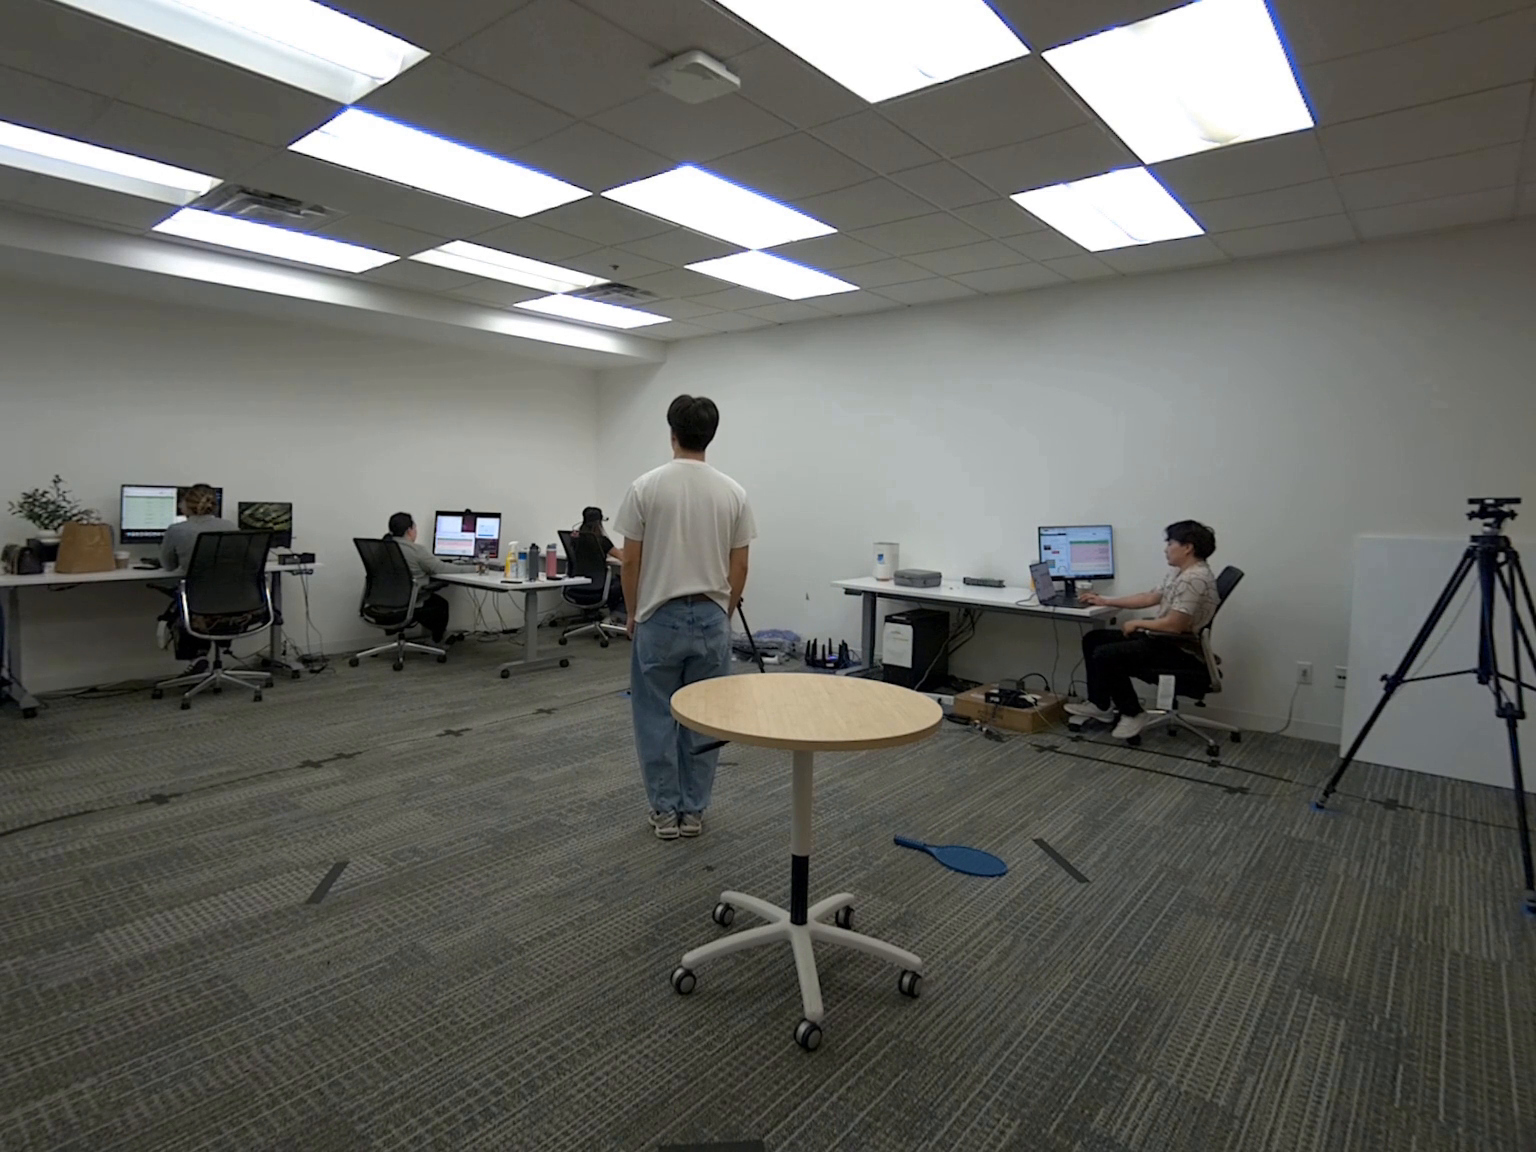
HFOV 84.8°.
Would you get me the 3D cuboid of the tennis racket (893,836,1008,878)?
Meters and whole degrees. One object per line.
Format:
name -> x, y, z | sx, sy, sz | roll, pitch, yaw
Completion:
tennis racket -> 0.683, 1.059, 3.258 | 0.447, 0.031, 0.208 | 7, 8, 33
